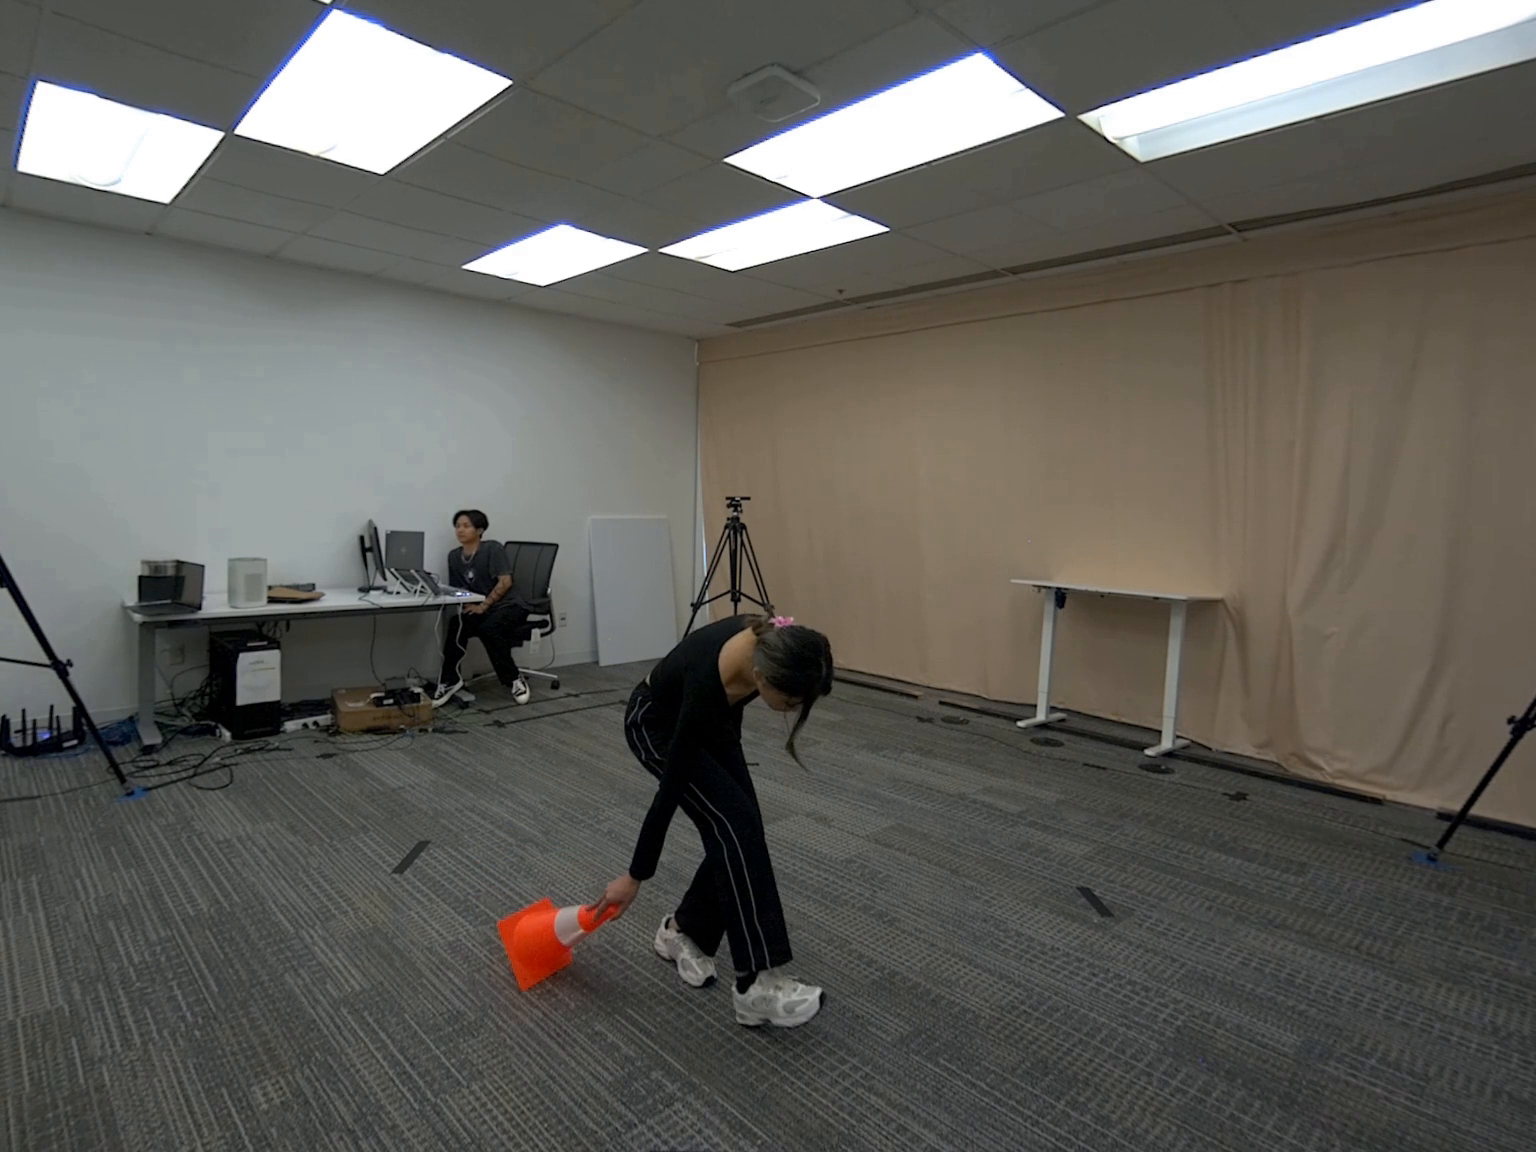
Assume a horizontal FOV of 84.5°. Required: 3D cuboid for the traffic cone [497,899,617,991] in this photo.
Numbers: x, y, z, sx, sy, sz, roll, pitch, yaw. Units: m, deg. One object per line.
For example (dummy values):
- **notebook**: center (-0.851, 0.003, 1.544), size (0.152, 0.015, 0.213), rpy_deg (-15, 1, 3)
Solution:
- **traffic cone**: center (-0.551, 0.979, 2.360), size (0.386, 0.207, 0.200), rpy_deg (-35, -24, 32)
